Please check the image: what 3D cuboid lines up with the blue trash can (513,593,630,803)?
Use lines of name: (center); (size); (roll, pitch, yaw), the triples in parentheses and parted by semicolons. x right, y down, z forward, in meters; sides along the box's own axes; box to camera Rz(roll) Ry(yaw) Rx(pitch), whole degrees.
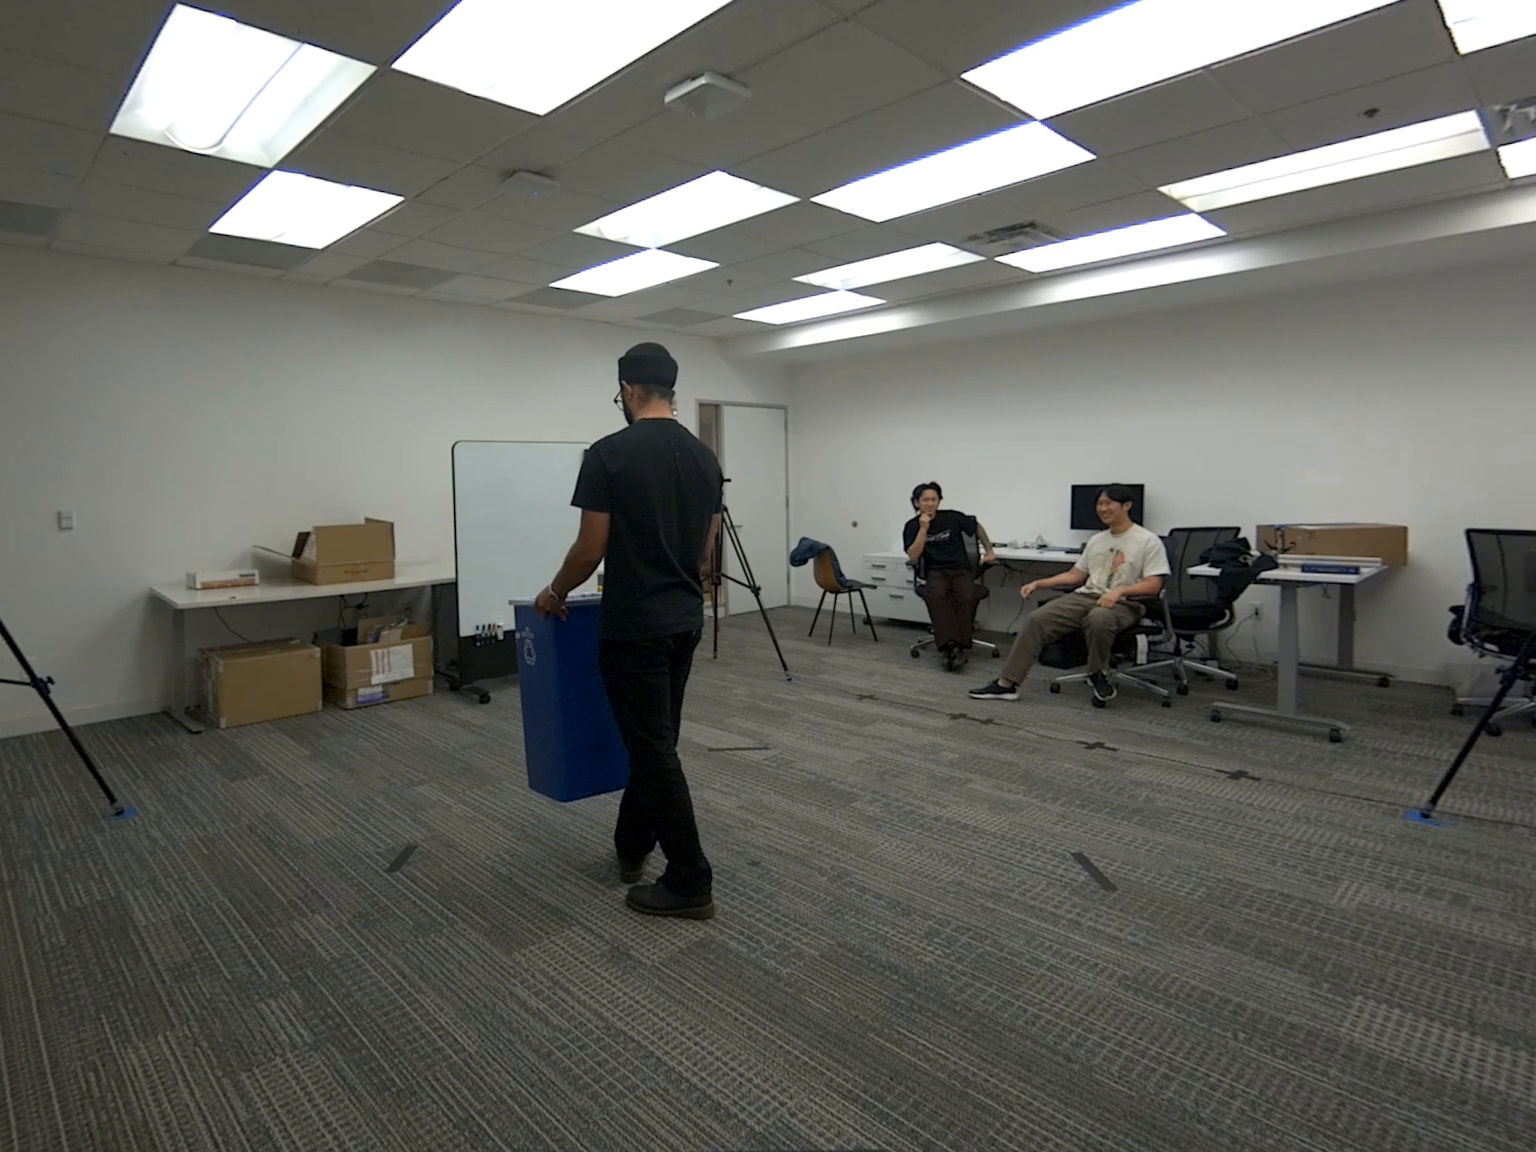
blue trash can: (-0.710, 0.432, 3.193); (0.368, 0.714, 0.384); (-3, -1, -38)
